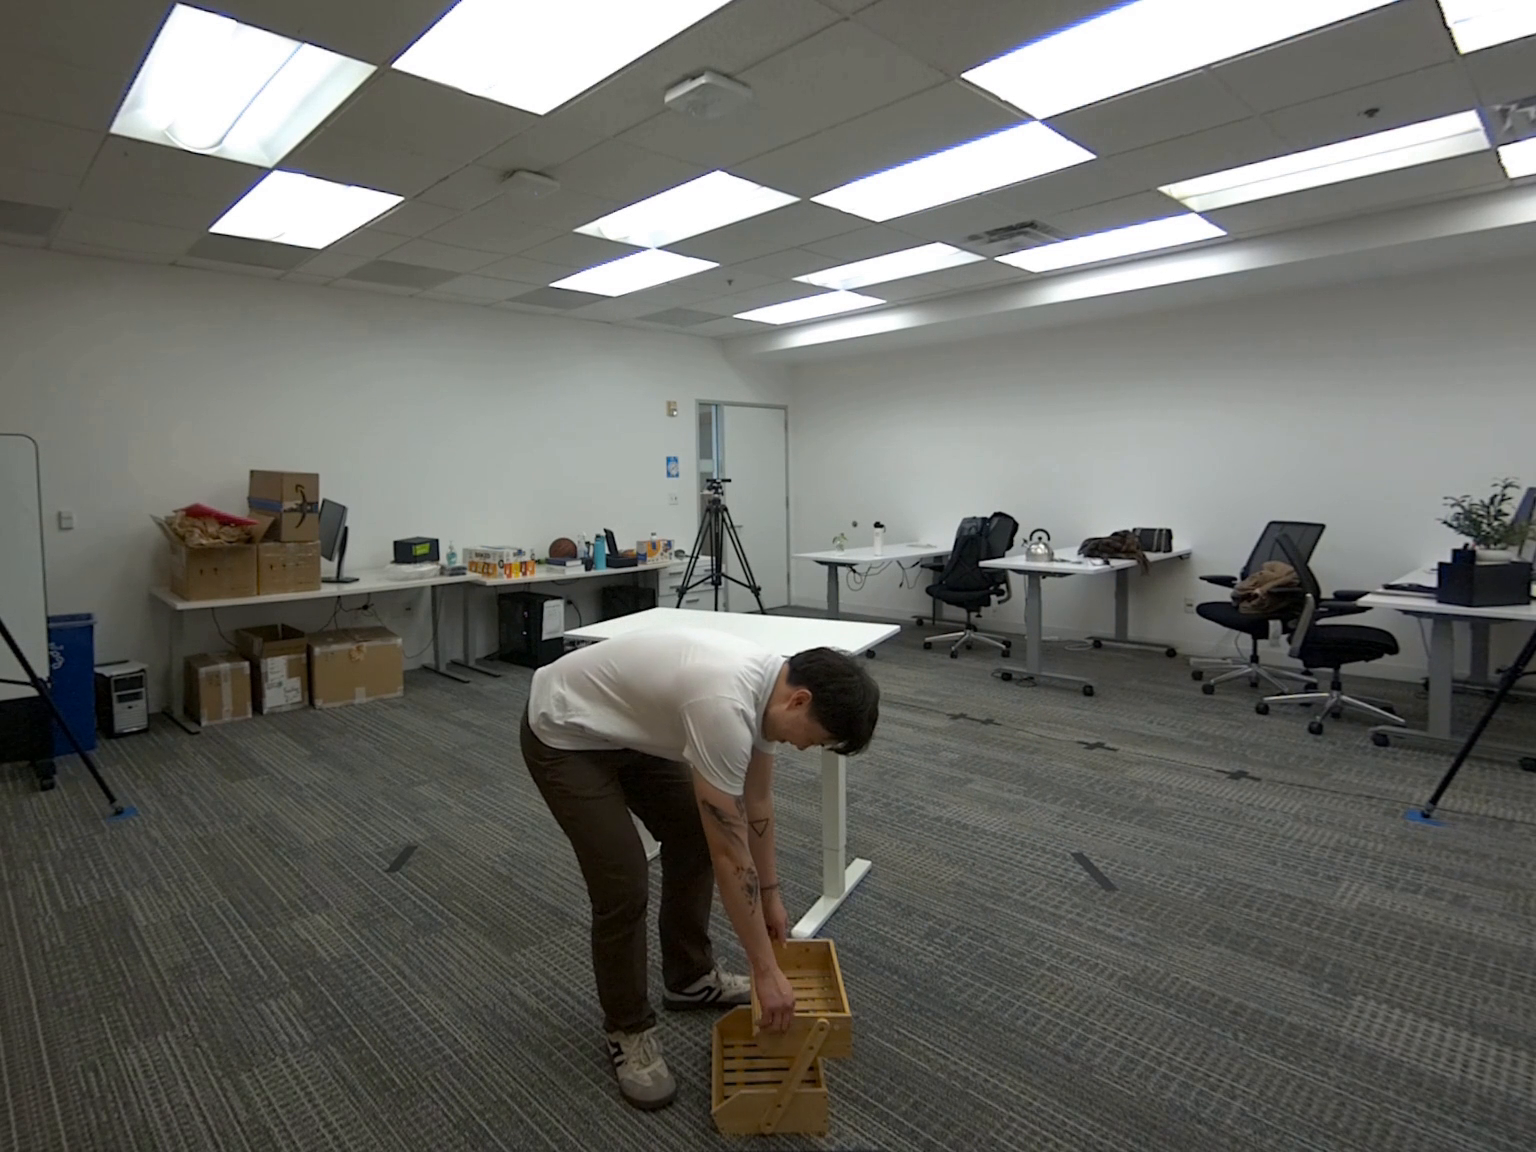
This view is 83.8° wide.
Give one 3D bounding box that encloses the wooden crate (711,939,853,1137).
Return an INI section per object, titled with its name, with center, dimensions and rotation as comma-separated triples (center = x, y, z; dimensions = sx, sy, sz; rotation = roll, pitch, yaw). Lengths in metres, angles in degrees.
[wooden crate]
center = 0.021, 1.045, 1.963
dimensions = 0.302, 0.272, 0.326
rotation = -1, 5, -1
